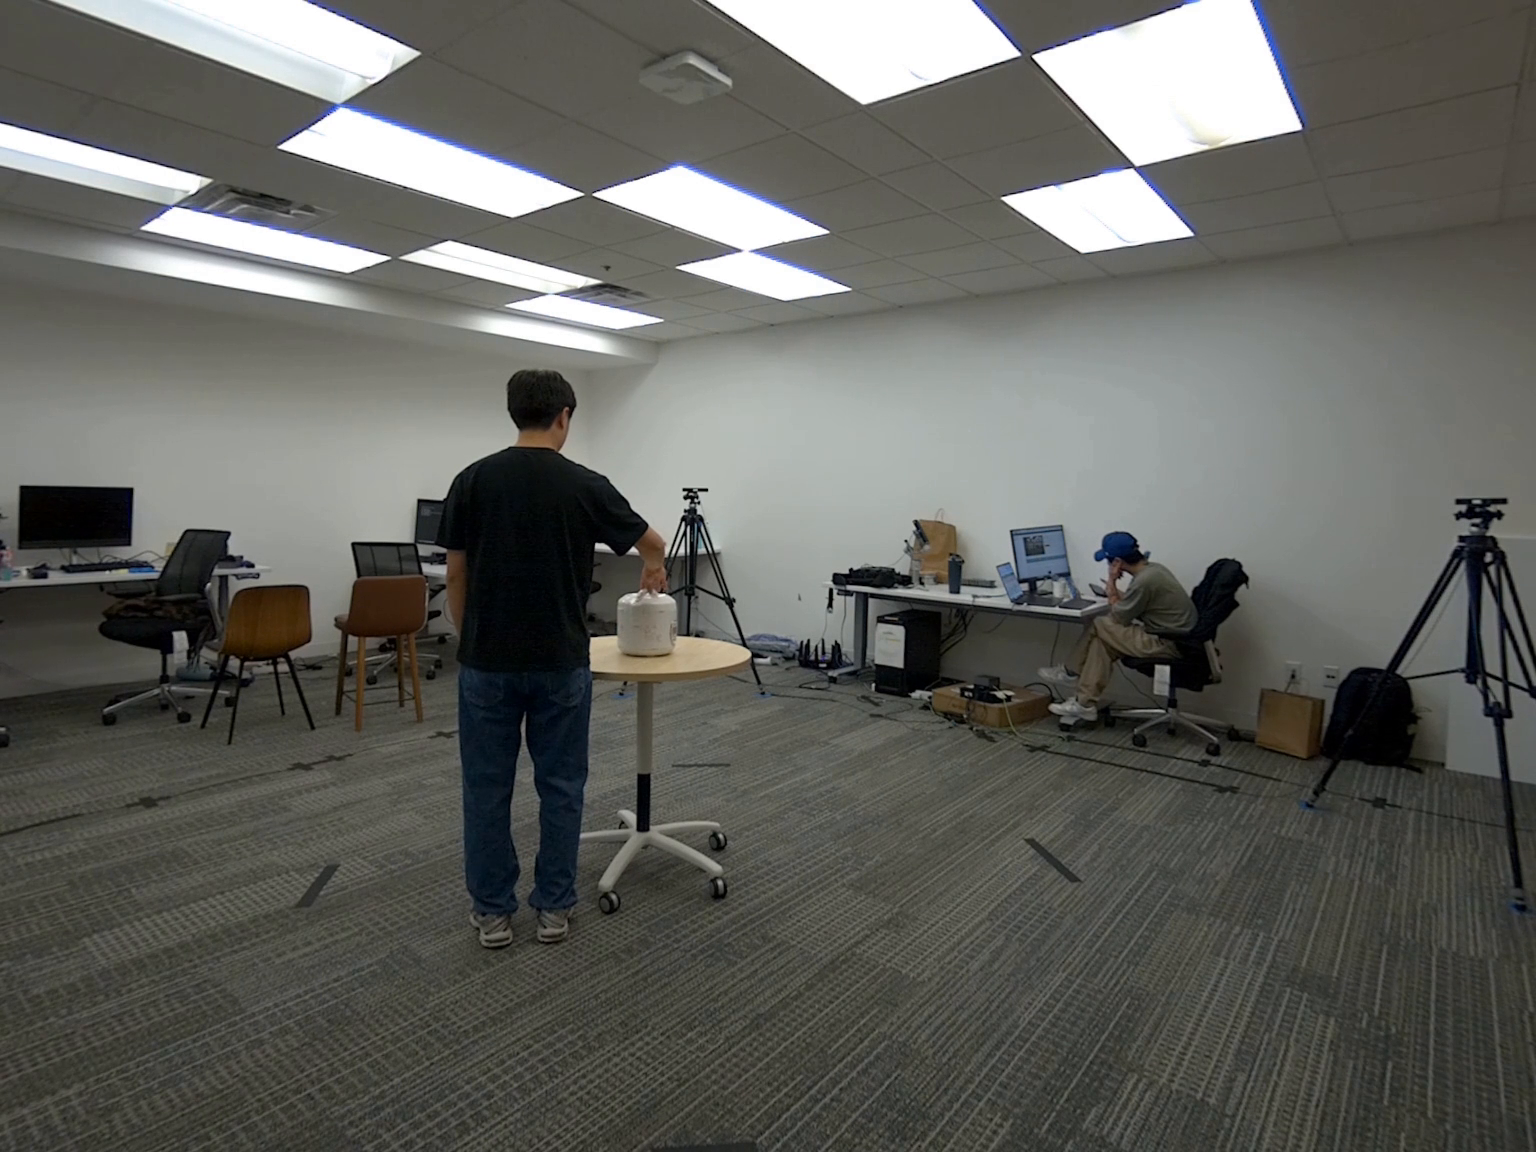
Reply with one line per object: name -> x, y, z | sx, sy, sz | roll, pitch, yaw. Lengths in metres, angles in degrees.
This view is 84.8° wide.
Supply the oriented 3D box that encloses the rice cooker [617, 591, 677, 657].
rice cooker -> -0.444, 0.158, 3.063 | 0.221, 0.232, 0.217 | 1, 4, 17
